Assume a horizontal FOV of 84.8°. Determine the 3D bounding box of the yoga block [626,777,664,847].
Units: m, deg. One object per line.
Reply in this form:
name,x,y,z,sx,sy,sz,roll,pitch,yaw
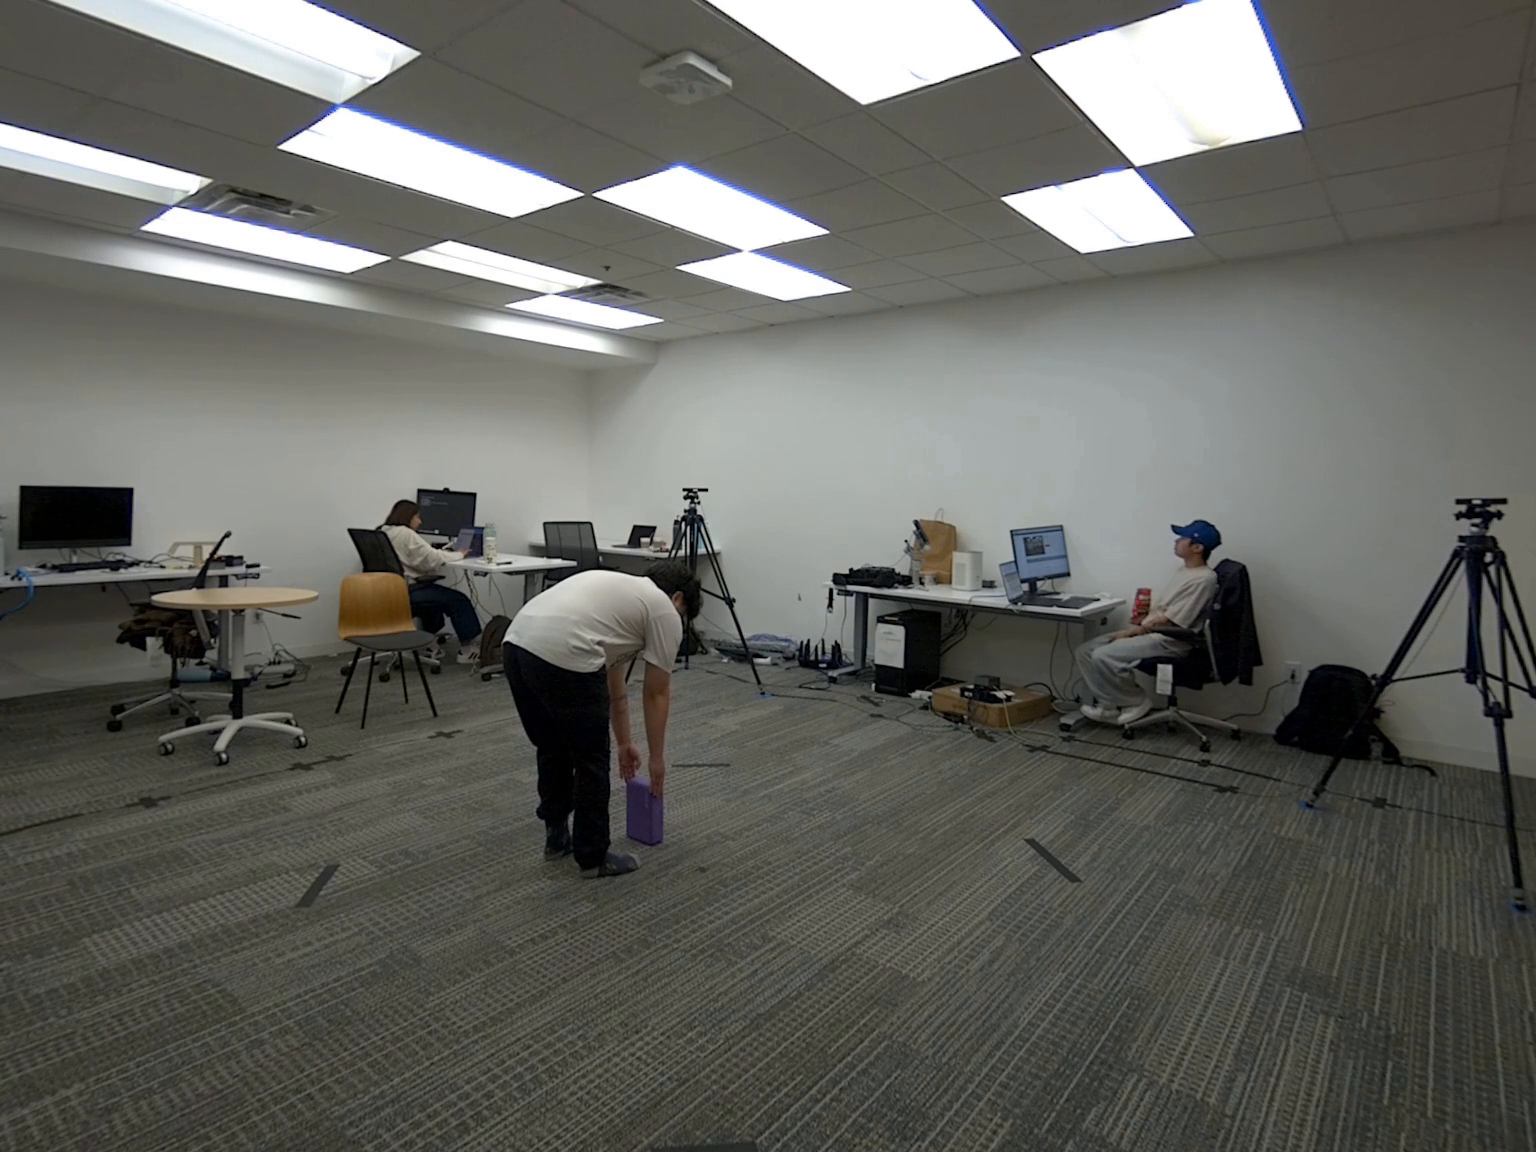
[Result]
yoga block,-0.505,0.929,3.371,0.154,0.228,0.074,1,4,38
